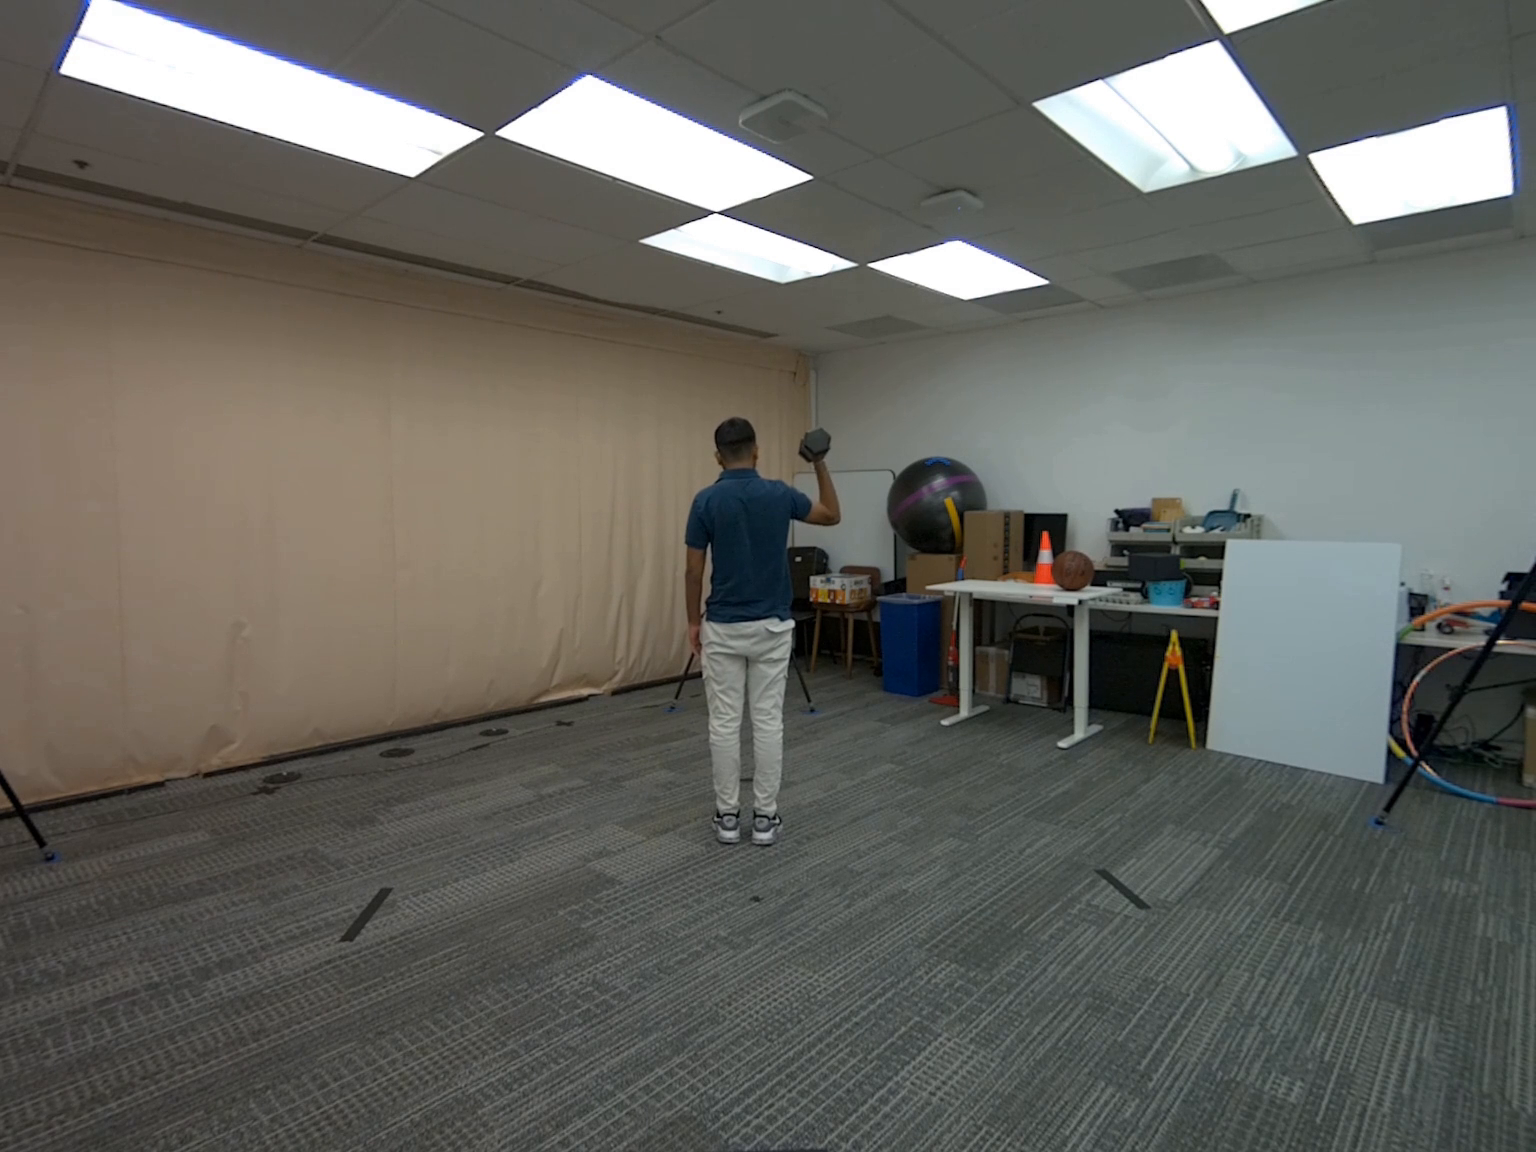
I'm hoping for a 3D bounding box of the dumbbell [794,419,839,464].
[{"bbox_3d":[0.199,-0.566,3.574,0.123,0.109,0.294,-17,1,-3],"label":"dumbbell"}]
